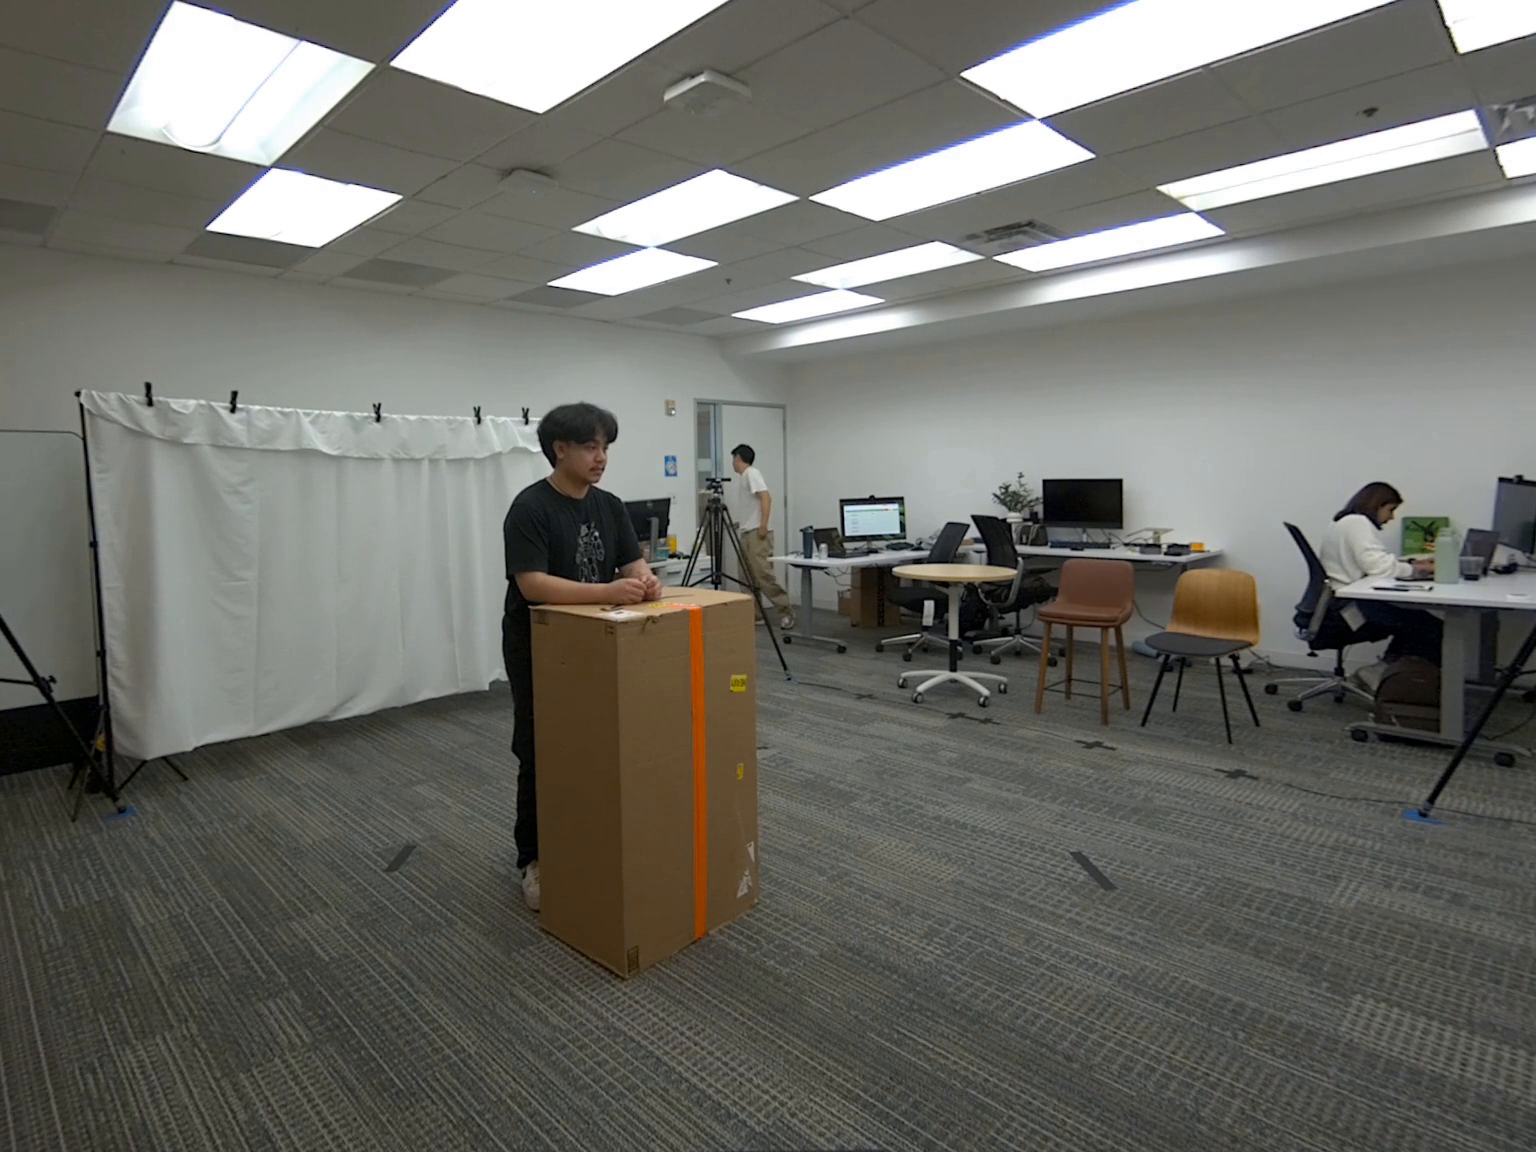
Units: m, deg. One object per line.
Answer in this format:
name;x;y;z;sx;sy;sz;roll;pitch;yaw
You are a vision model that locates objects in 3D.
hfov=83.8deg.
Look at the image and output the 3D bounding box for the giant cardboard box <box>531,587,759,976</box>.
giant cardboard box;-0.375;0.584;2.706;0.461;1.022;0.569;4;7;43
